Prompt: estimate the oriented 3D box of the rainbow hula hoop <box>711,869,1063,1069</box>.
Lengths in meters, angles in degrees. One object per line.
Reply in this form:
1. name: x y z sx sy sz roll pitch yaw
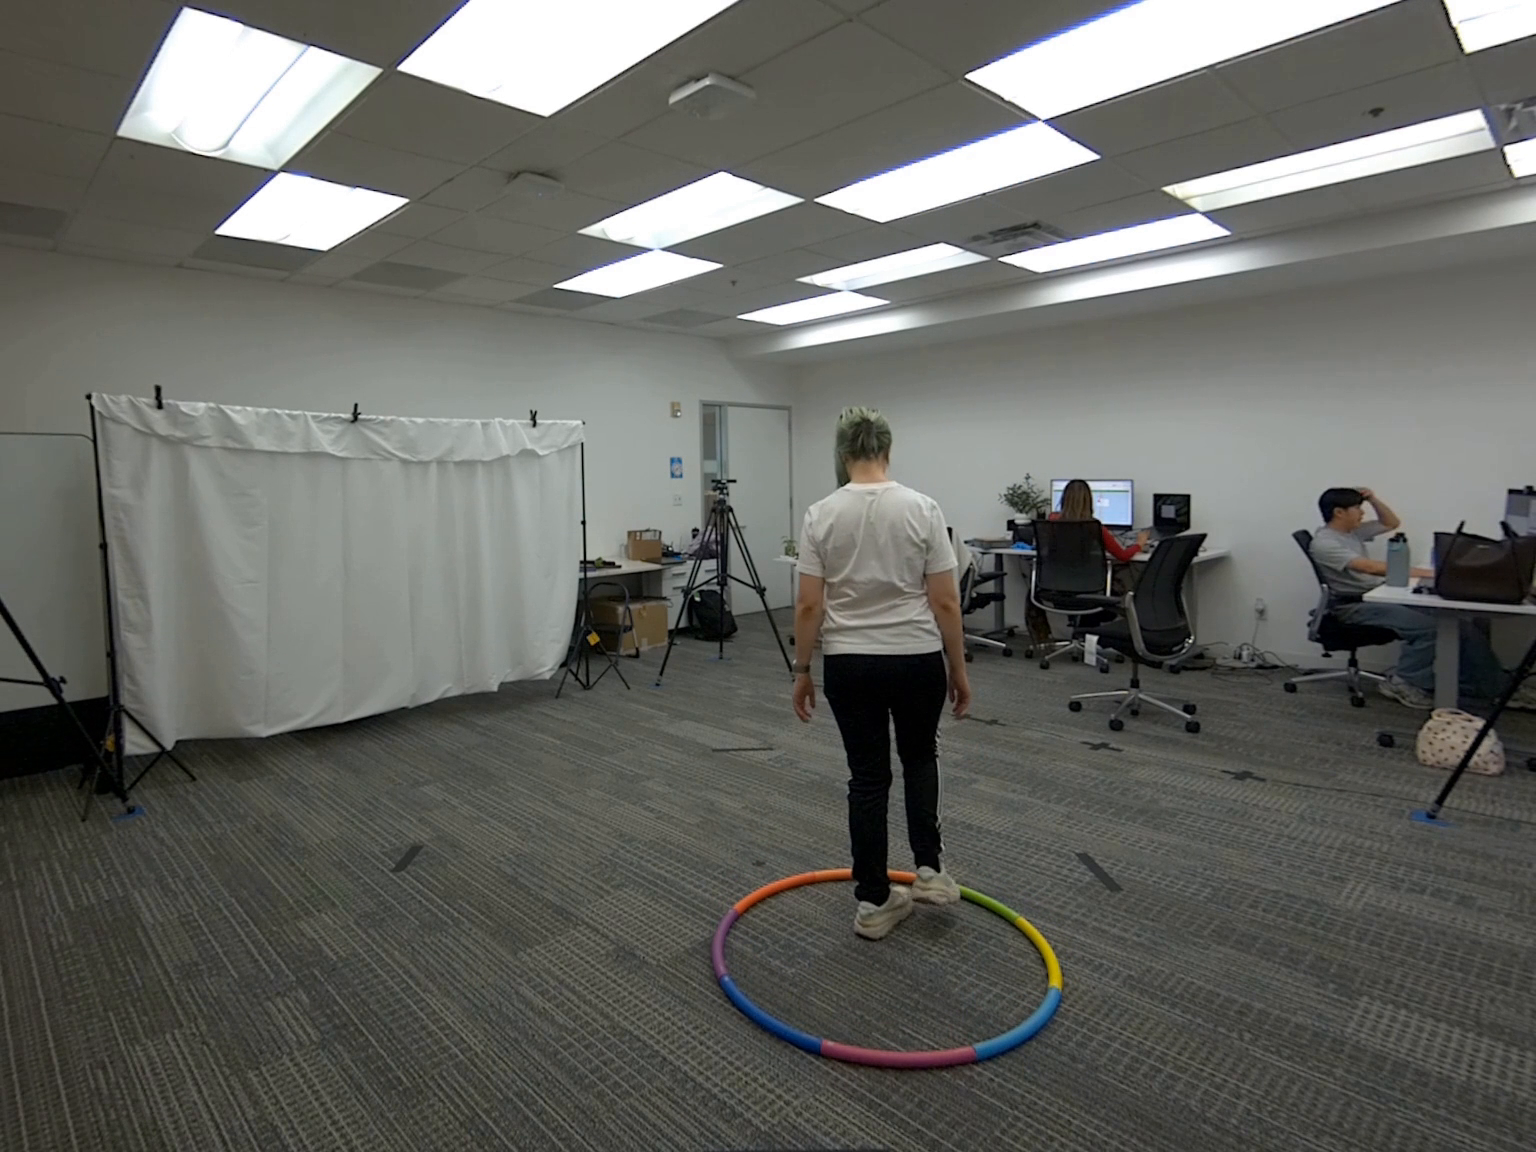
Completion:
1. rainbow hula hoop: 0.330 1.084 2.500 0.985 0.051 0.990 -2 6 -2
